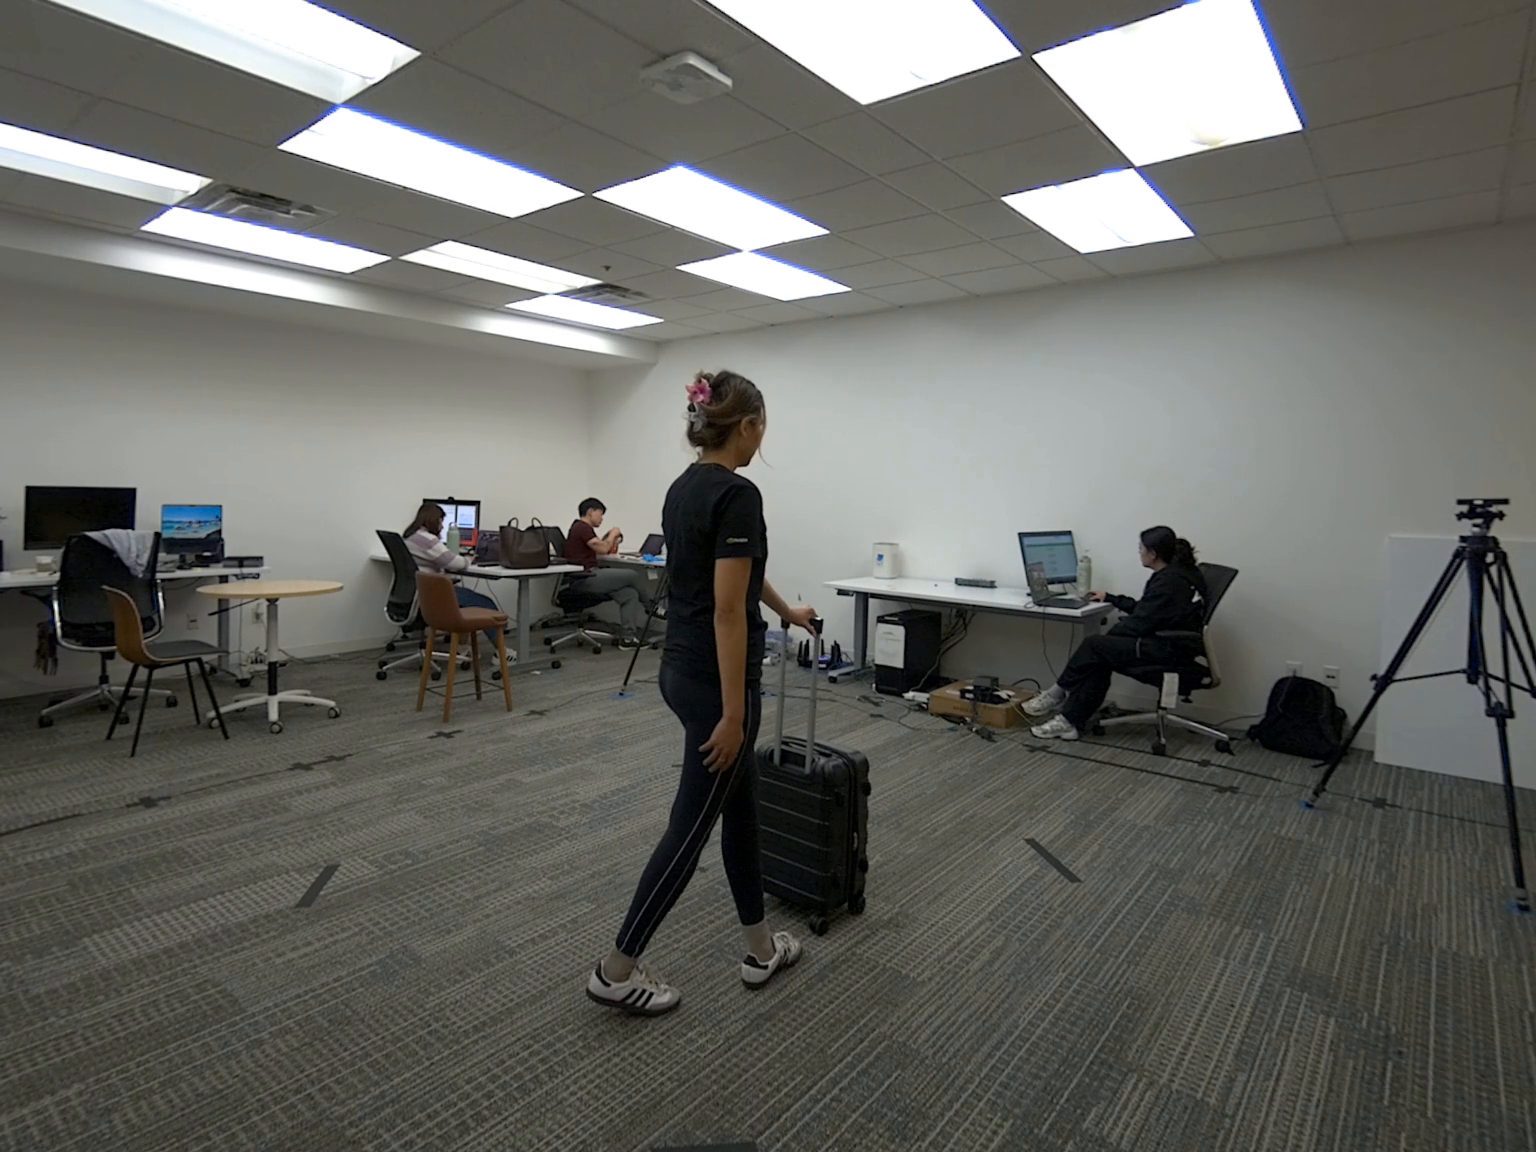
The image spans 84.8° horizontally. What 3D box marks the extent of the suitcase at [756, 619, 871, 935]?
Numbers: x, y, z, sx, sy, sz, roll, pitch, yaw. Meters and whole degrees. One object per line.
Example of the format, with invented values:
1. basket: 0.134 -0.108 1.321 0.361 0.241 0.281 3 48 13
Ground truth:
1. suitcase: 0.141 0.623 2.859 0.397 0.980 0.248 3 -1 41
